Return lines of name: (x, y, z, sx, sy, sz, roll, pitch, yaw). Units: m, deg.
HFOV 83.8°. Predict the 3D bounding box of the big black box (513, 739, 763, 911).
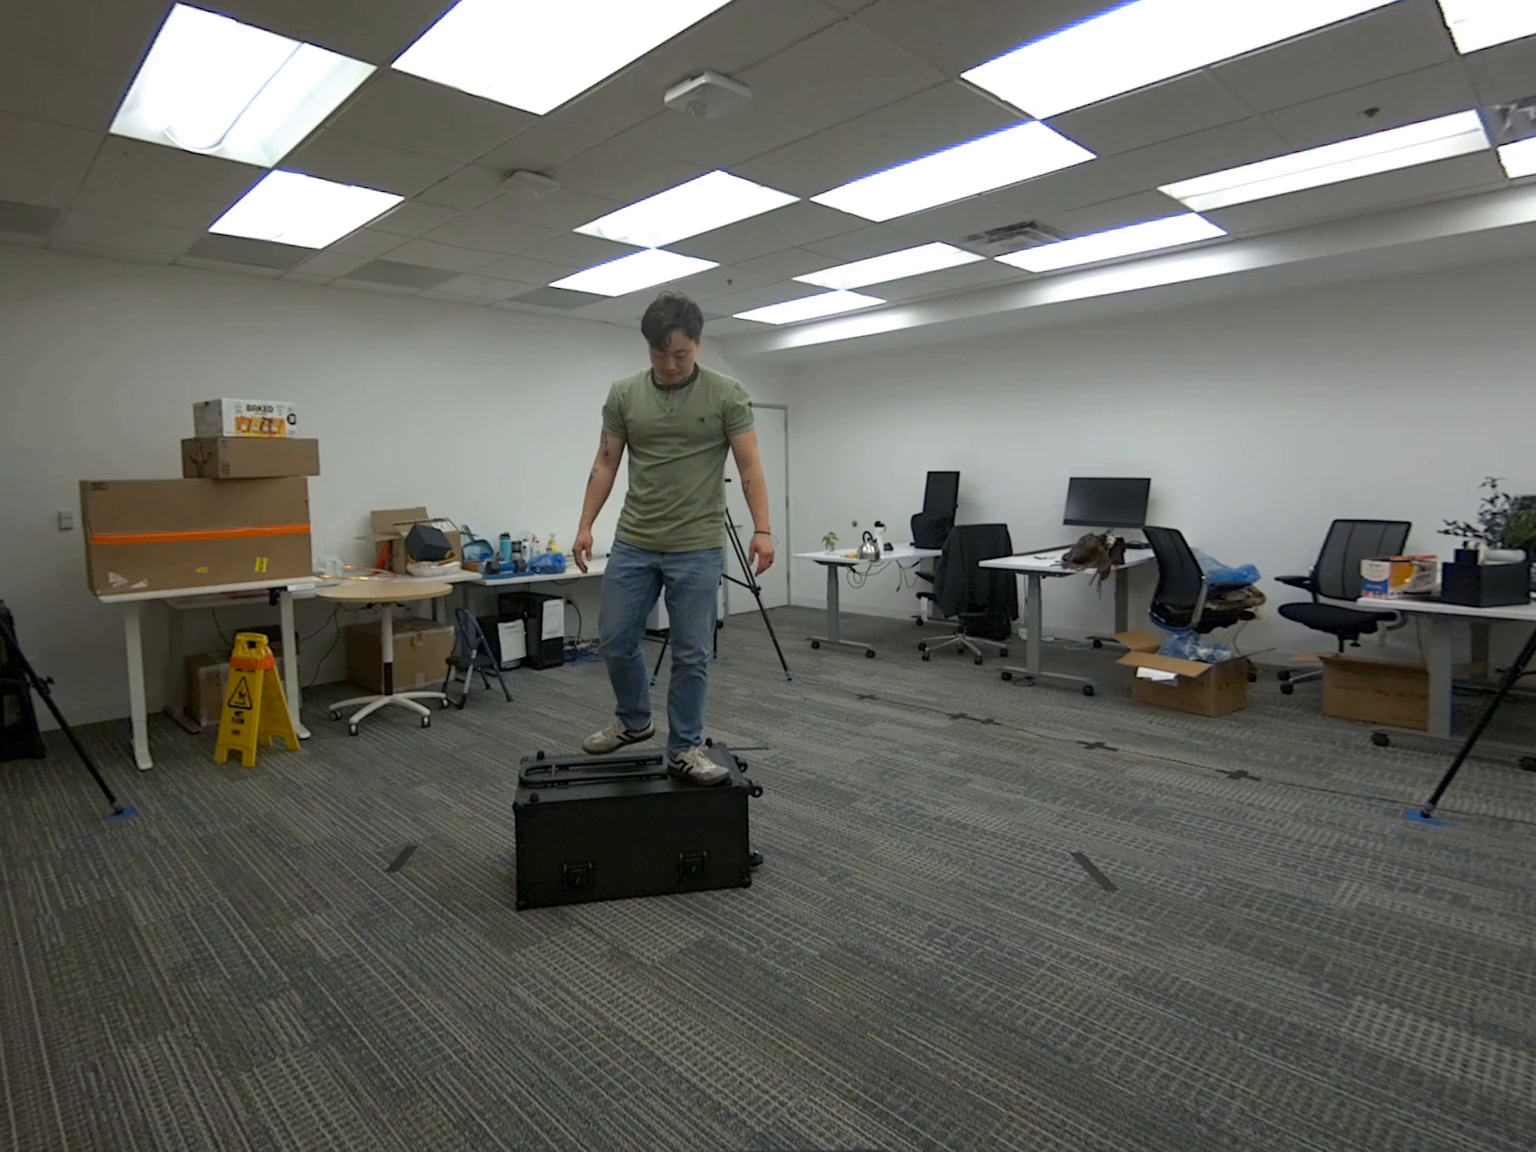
big black box: (-0.464, 0.862, 3.089, 0.852, 0.395, 0.529, -1, 5, -11)
